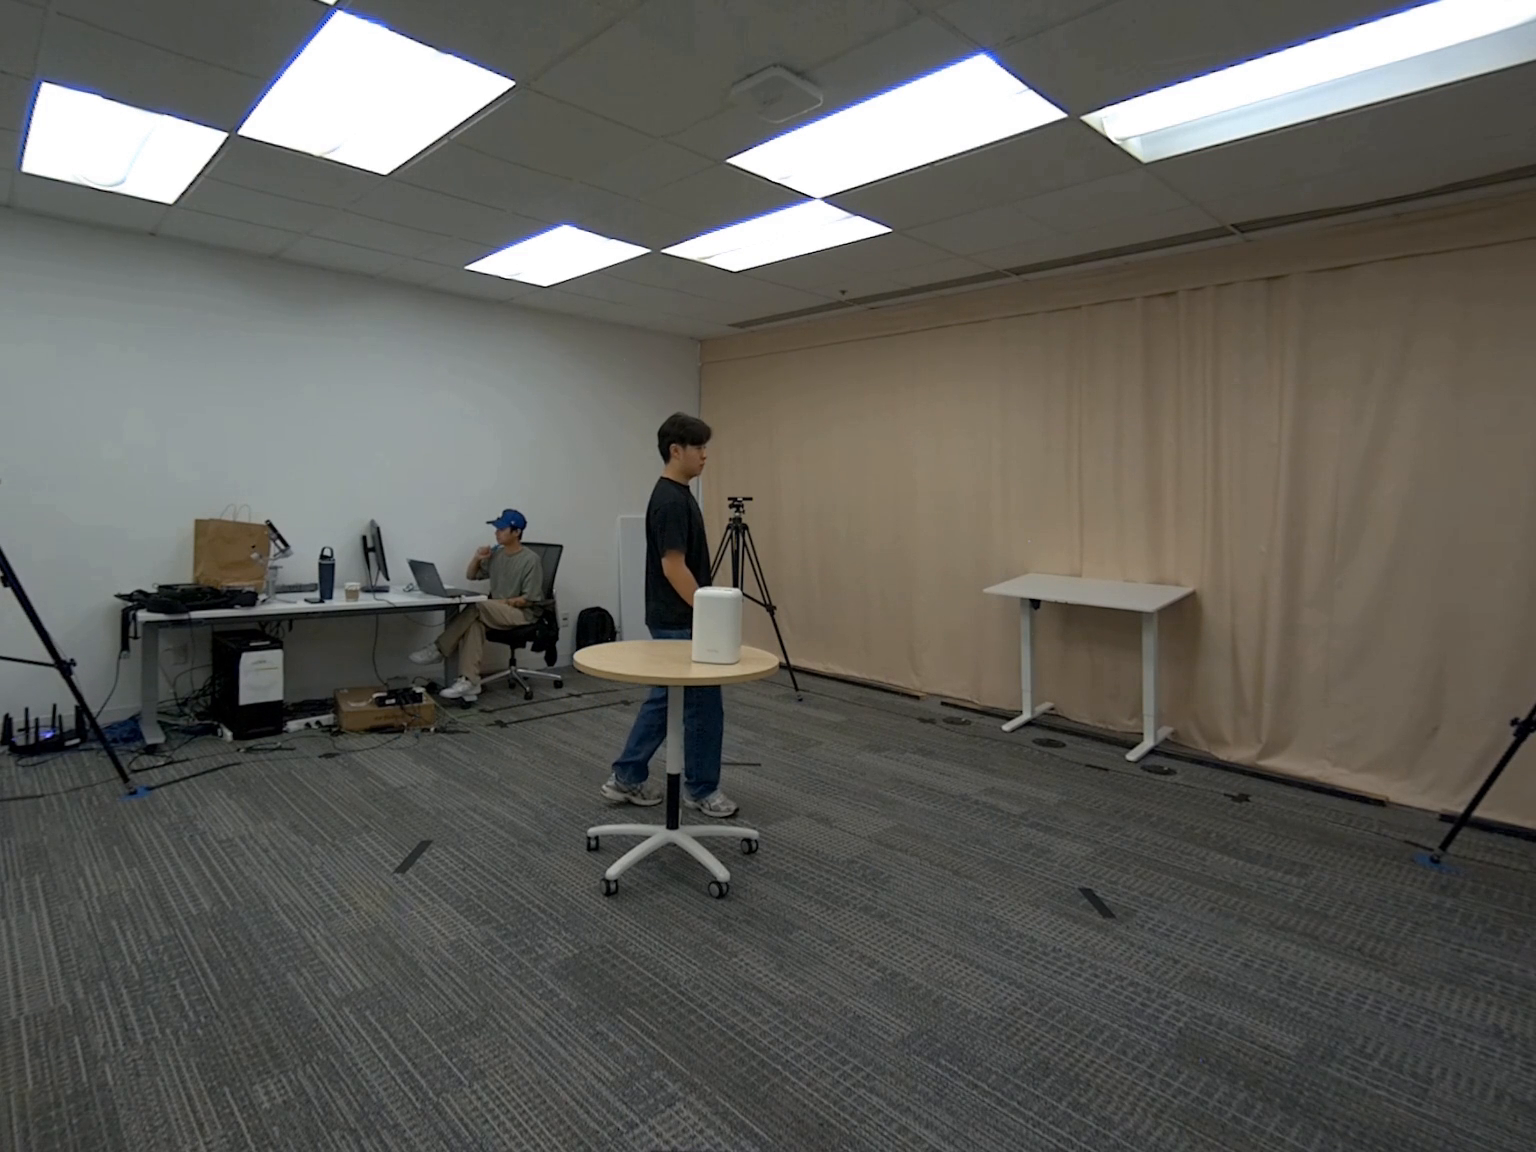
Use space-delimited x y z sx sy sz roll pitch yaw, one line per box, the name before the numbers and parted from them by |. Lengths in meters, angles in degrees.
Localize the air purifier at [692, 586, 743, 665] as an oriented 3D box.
air purifier | -0.199 0.181 3.103 0.172 0.264 0.171 2 4 9
